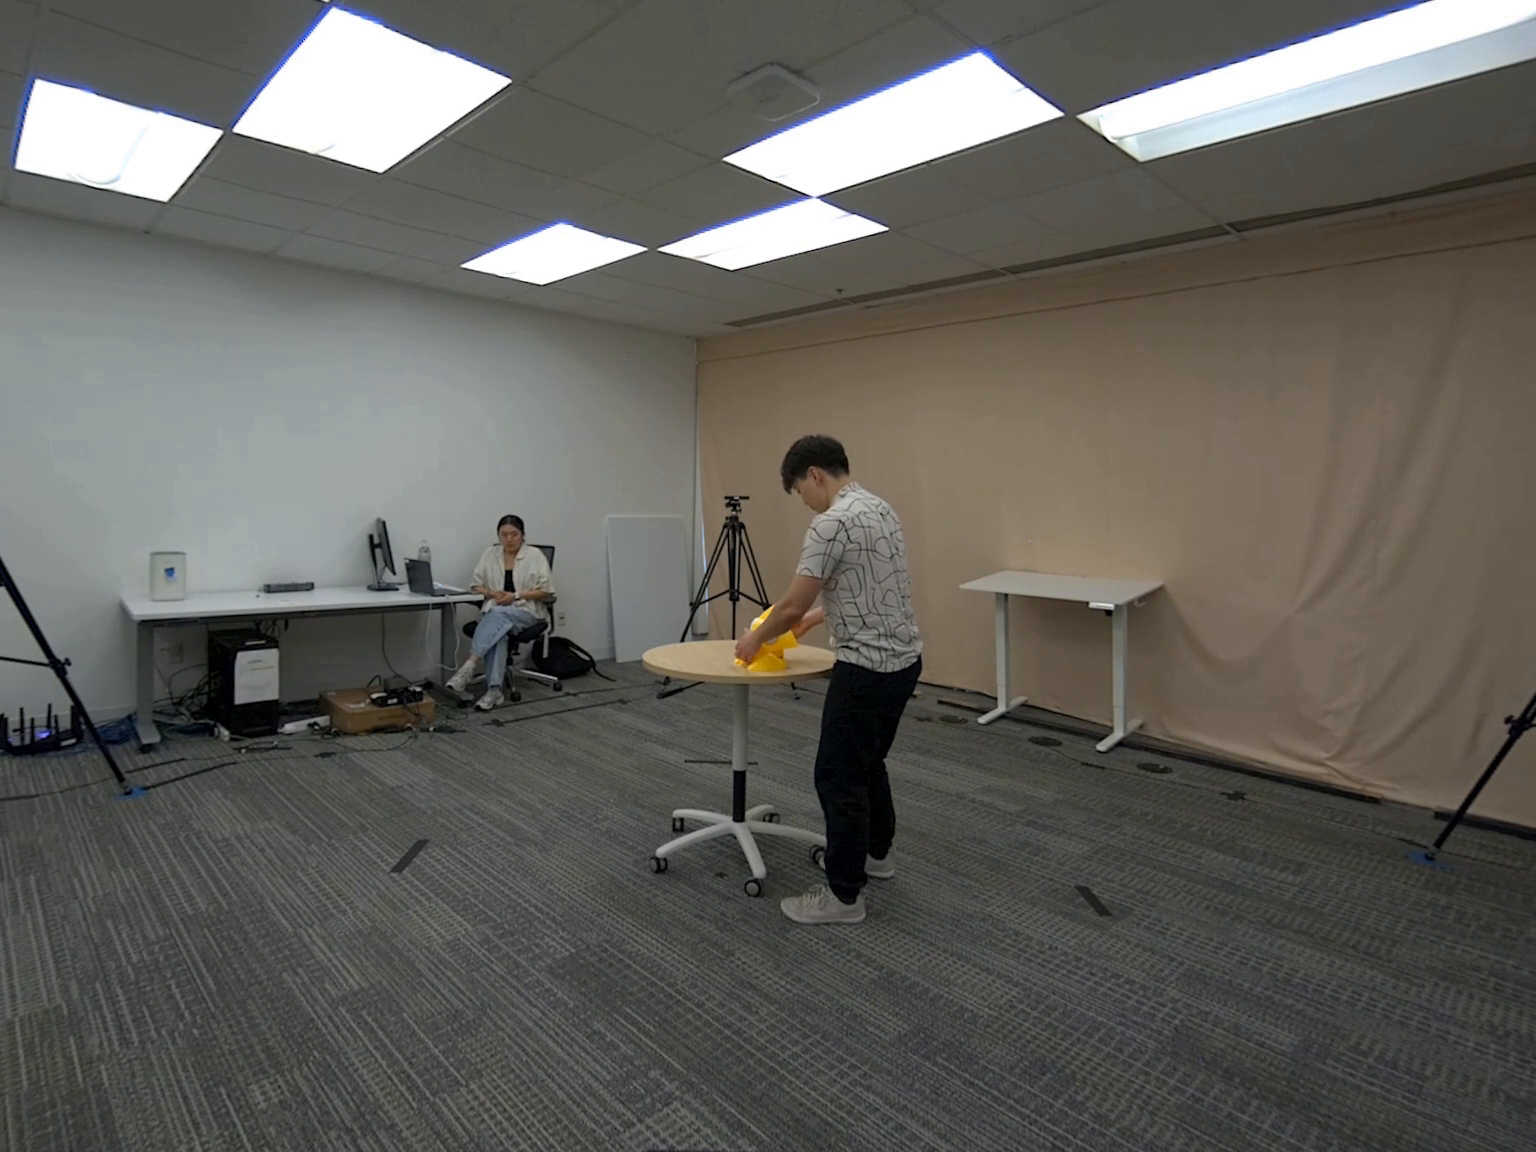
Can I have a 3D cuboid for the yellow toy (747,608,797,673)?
[{"bbox_3d":[-0.016,0.214,3.063,0.190,0.230,0.209,-1,4,-23],"label":"yellow toy"}]
